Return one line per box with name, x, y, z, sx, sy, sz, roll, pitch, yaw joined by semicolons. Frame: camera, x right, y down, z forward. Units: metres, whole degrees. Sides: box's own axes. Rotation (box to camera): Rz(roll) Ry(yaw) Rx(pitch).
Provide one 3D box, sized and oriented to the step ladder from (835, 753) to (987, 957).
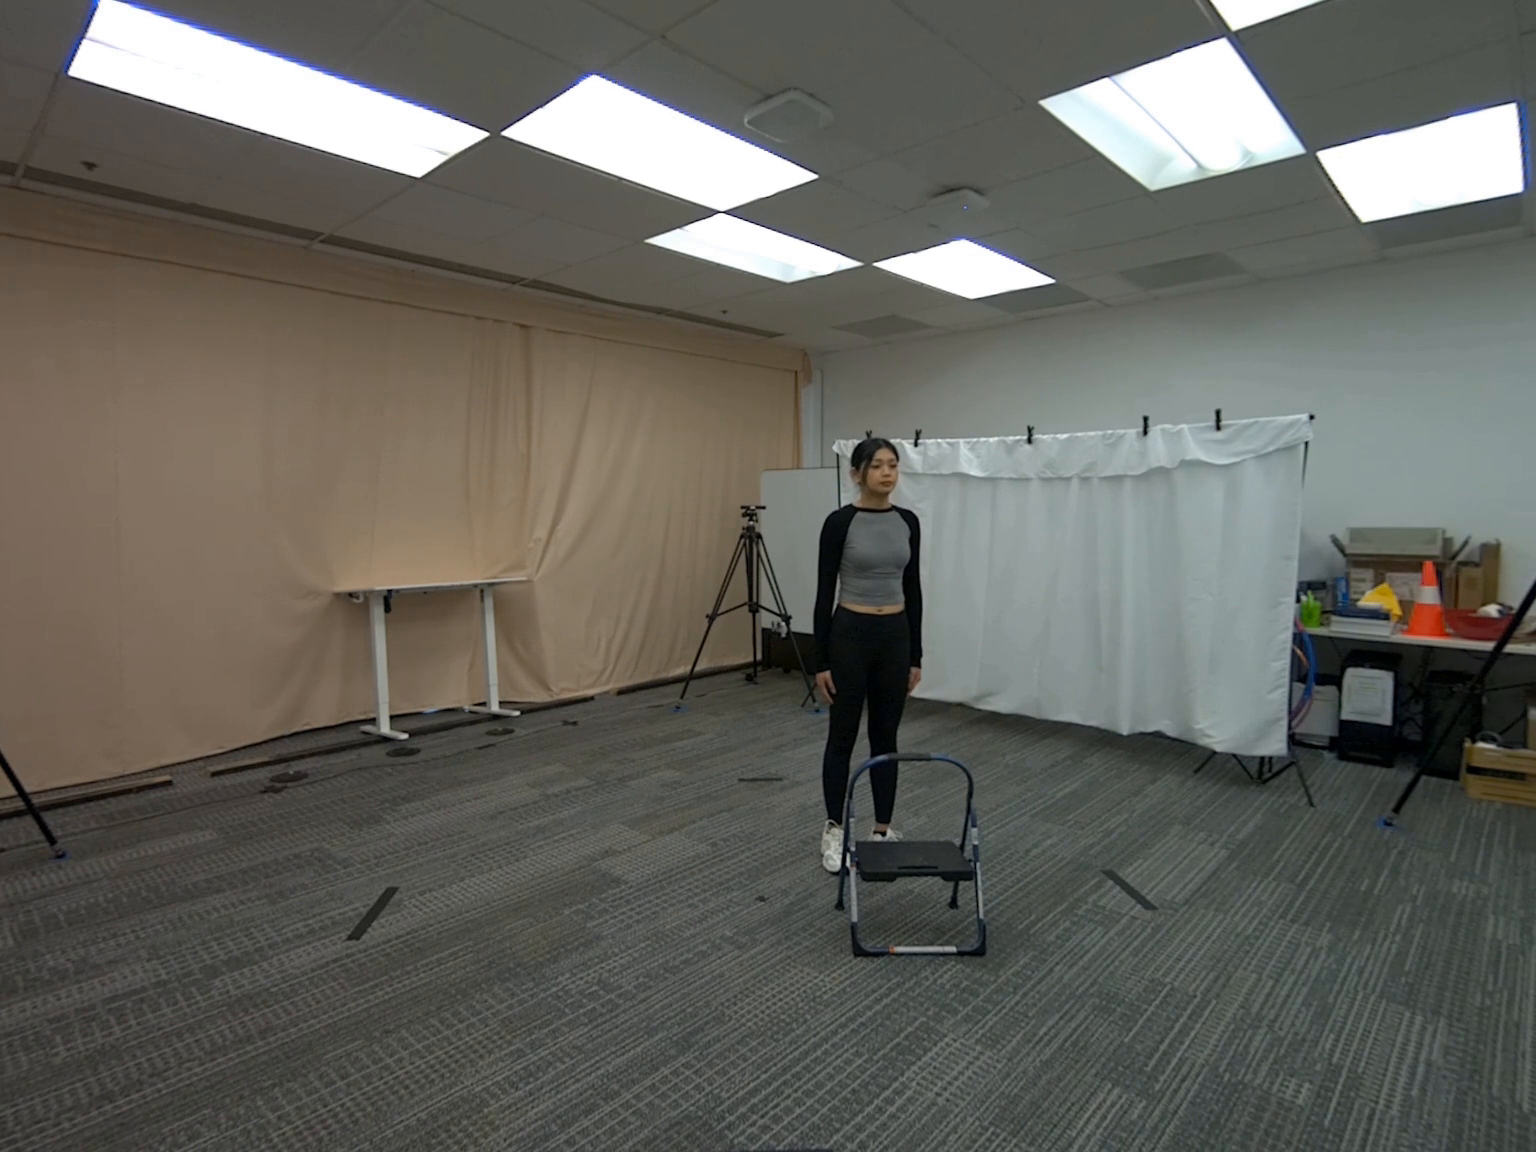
step ladder;0.460;0.863;2.748;0.430;0.605;0.351;0;3;-3
